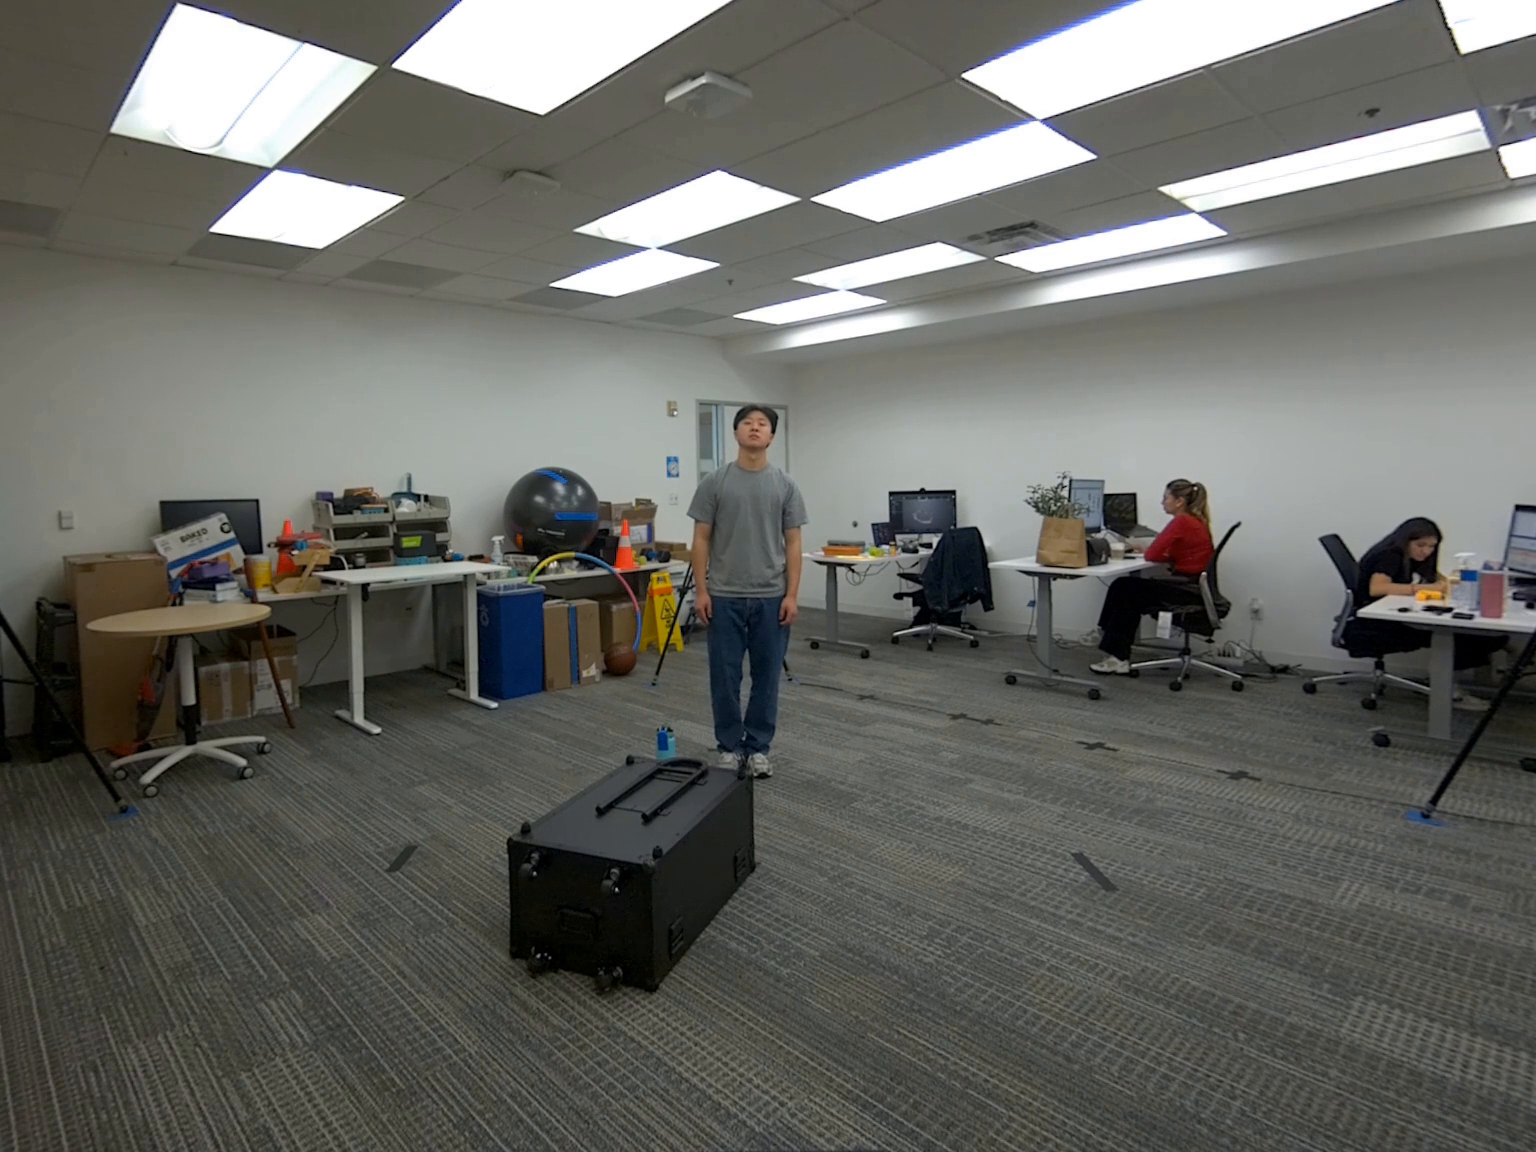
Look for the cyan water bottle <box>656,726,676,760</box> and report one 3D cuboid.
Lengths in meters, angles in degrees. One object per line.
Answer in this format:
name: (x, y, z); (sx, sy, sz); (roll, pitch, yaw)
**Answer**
cyan water bottle: (-0.469, 0.823, 3.919); (0.092, 0.282, 0.093); (-2, 3, -2)
